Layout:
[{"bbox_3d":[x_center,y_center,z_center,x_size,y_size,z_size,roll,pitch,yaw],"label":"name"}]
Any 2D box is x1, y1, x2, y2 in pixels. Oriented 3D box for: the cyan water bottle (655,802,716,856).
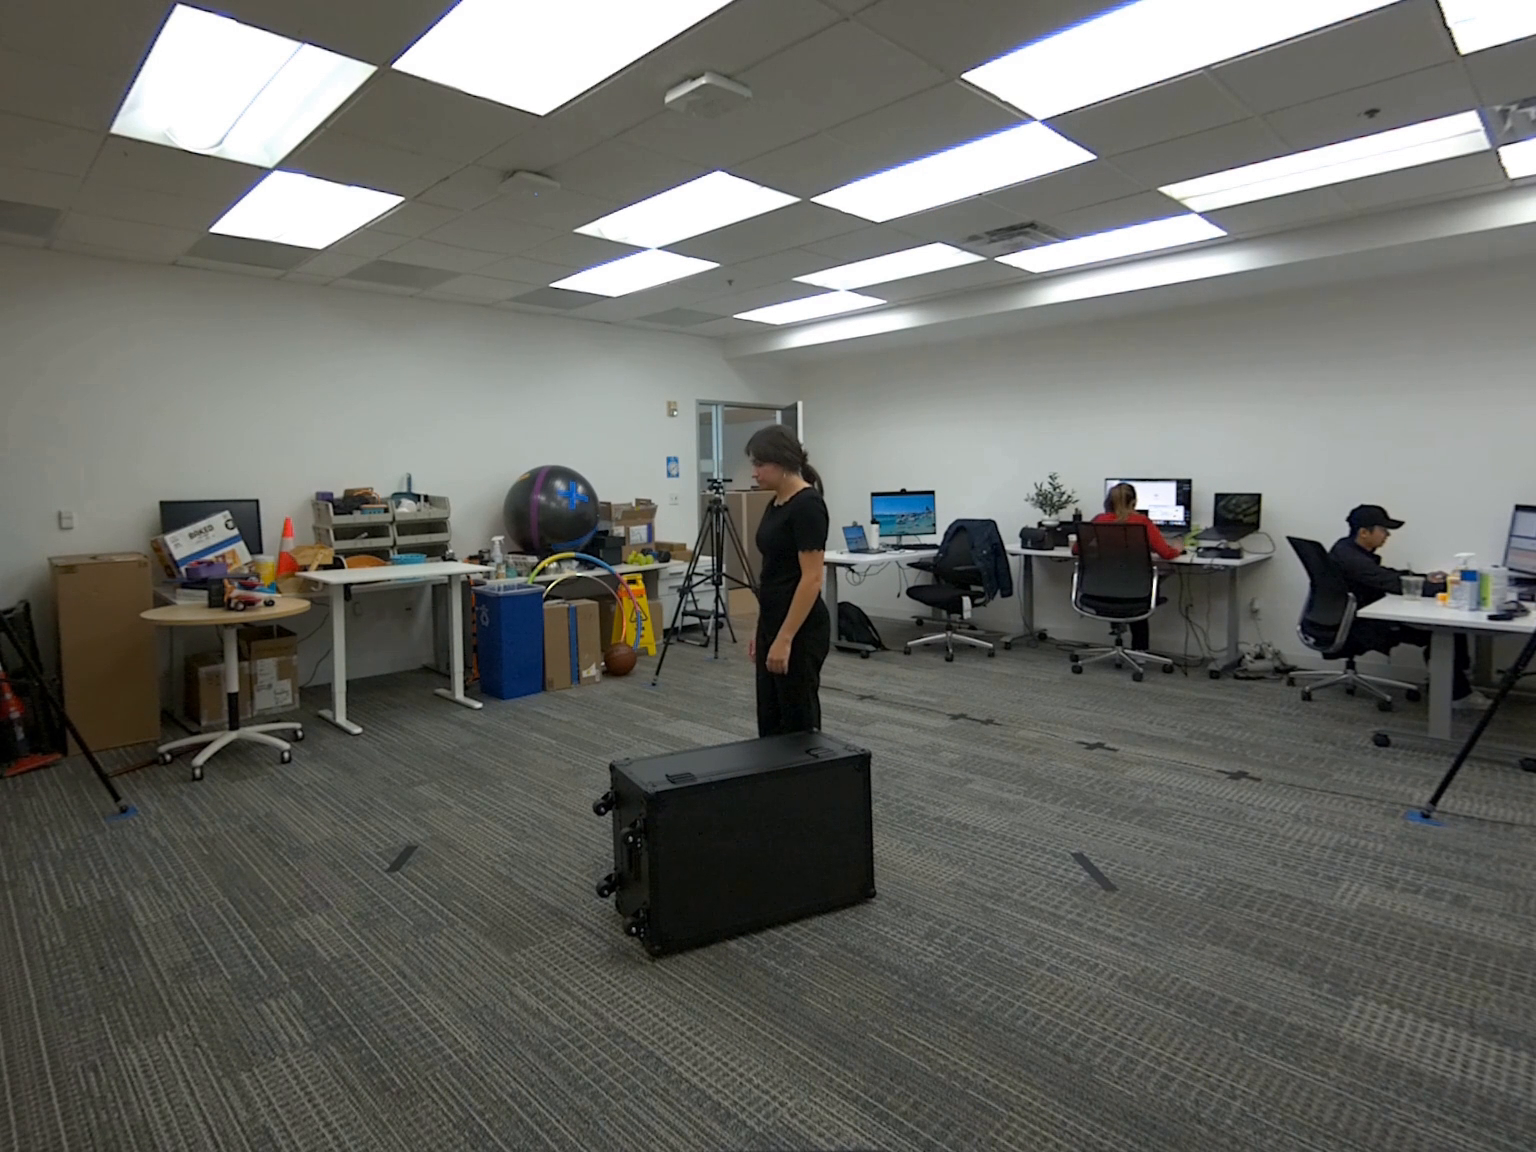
[{"bbox_3d":[-0.320,0.980,3.338,0.095,0.092,0.277,2,6,29],"label":"cyan water bottle"}]
